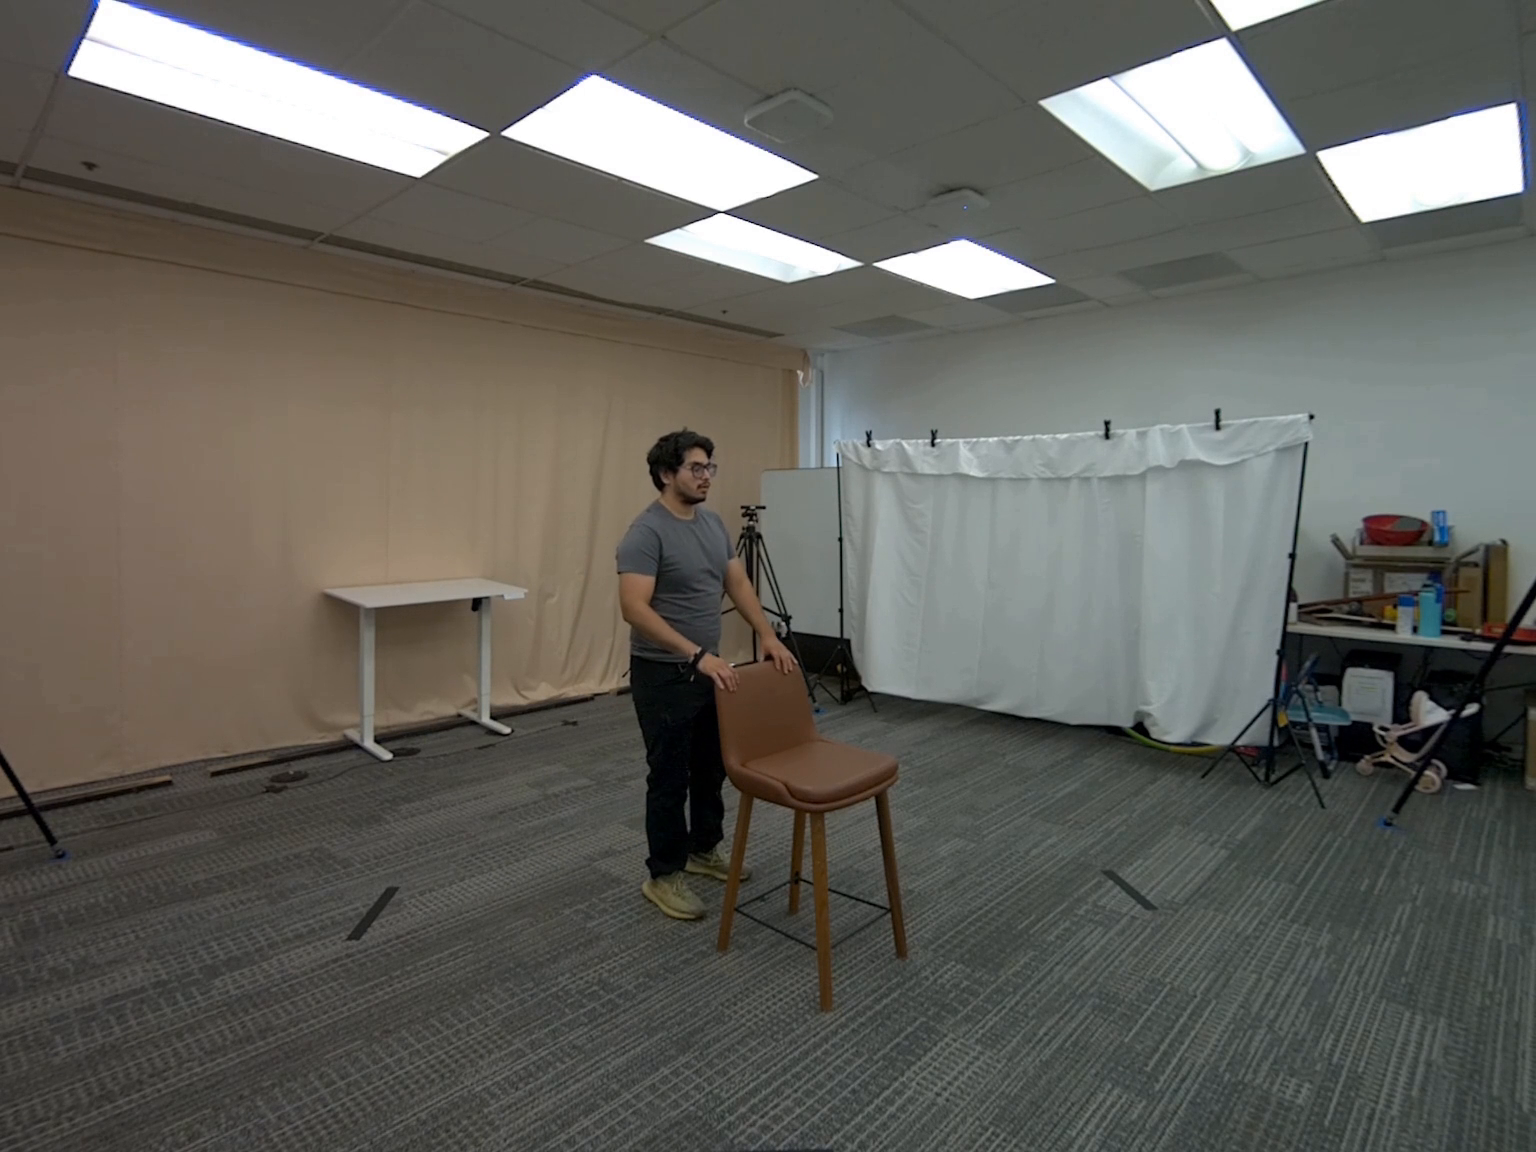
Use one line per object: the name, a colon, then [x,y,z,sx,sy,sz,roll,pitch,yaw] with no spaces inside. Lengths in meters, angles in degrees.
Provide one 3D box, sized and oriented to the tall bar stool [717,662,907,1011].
tall bar stool: [0.123,0.739,2.597,0.483,0.888,0.442,0,3,43]
